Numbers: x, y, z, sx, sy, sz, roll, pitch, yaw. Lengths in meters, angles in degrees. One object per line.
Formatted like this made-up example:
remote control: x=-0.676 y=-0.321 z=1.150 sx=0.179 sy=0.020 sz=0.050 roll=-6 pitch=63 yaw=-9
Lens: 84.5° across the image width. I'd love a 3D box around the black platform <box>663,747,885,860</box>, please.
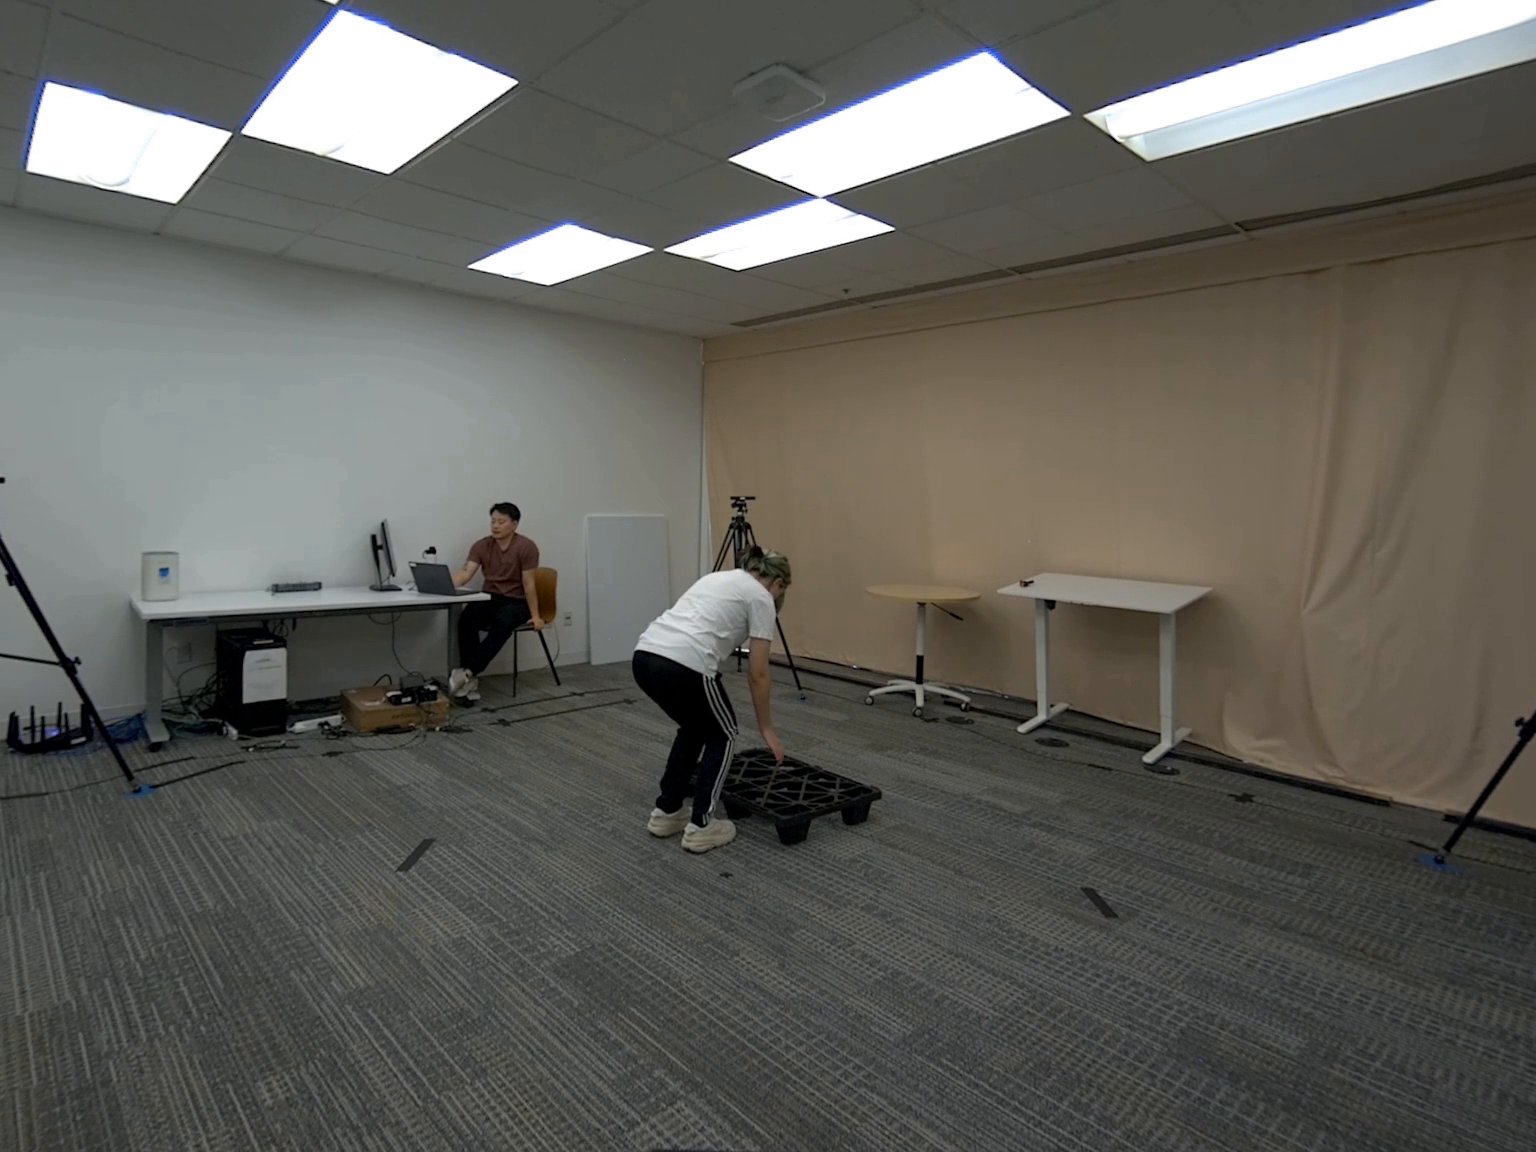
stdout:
black platform: x=0.009 y=0.985 z=3.799 sx=0.591 sy=0.143 sz=0.826 roll=-3 pitch=7 yaw=-41
